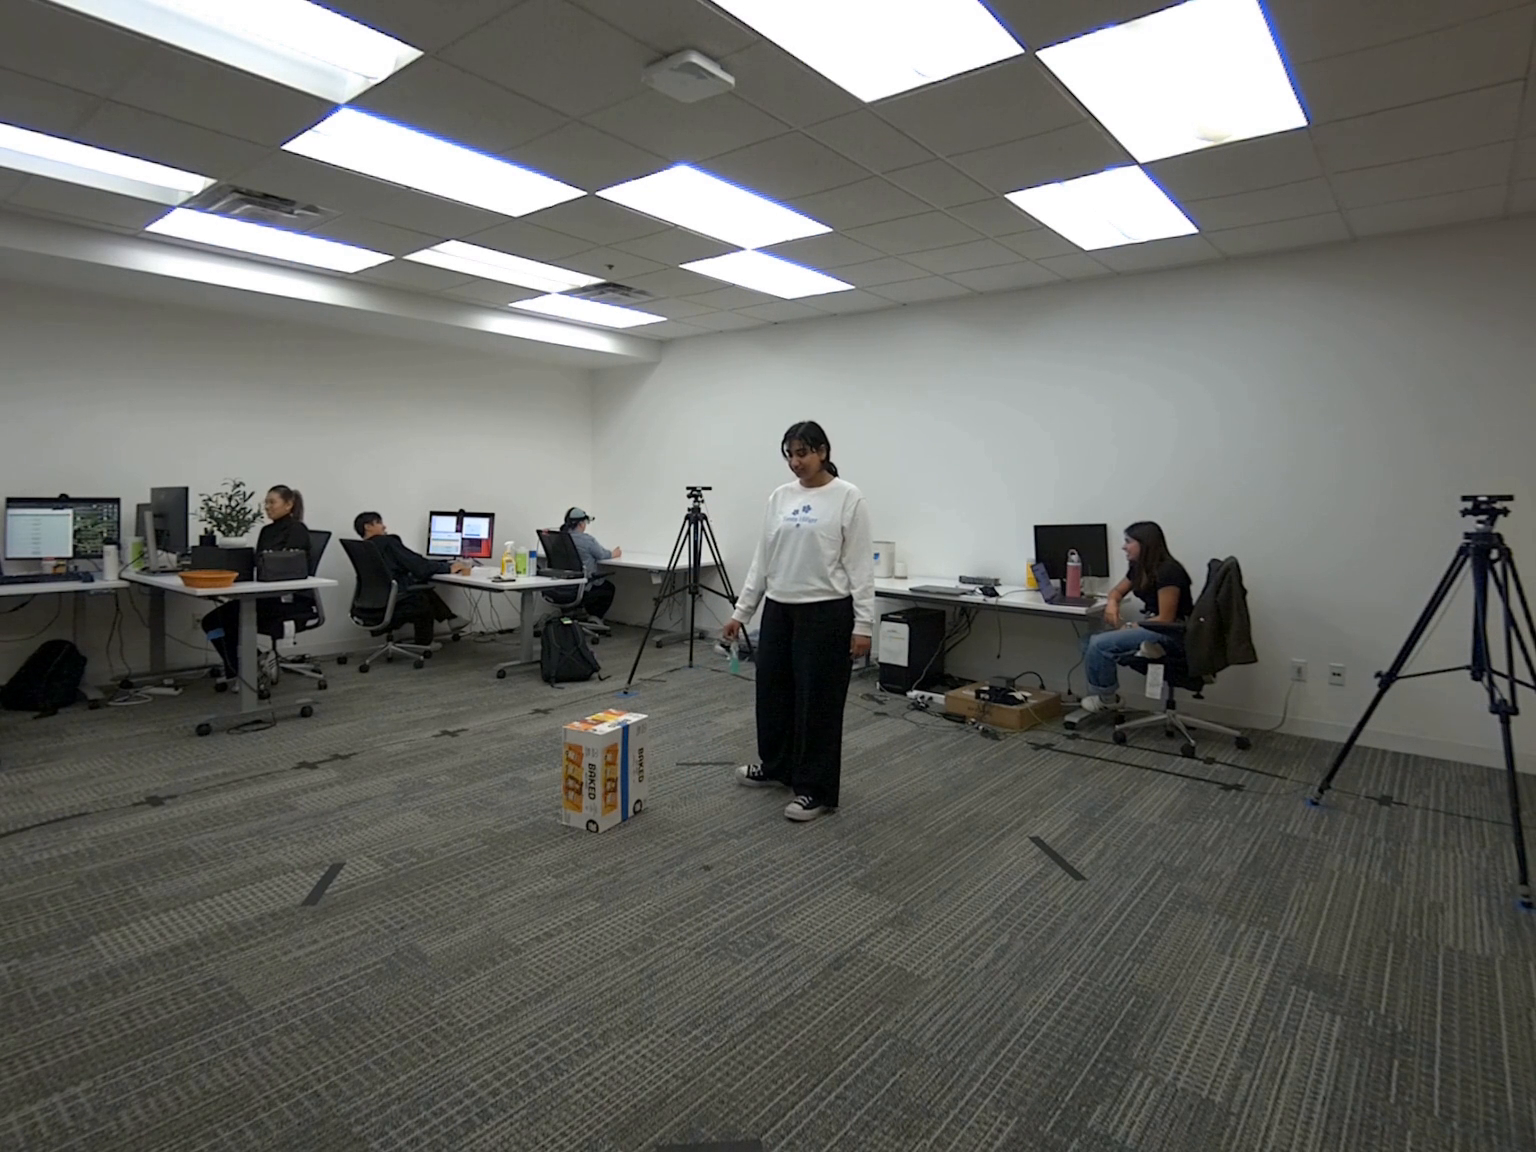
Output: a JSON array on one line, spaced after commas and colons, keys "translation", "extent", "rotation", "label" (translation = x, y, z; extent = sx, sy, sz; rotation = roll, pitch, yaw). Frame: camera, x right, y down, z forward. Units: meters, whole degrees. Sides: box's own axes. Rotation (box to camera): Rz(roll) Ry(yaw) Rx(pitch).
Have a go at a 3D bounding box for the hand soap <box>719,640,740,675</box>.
[{"translation": [-0.153, 0.344, 3.802], "extent": [0.043, 0.169, 0.084], "rotation": [-3, -3, -4], "label": "hand soap"}]
